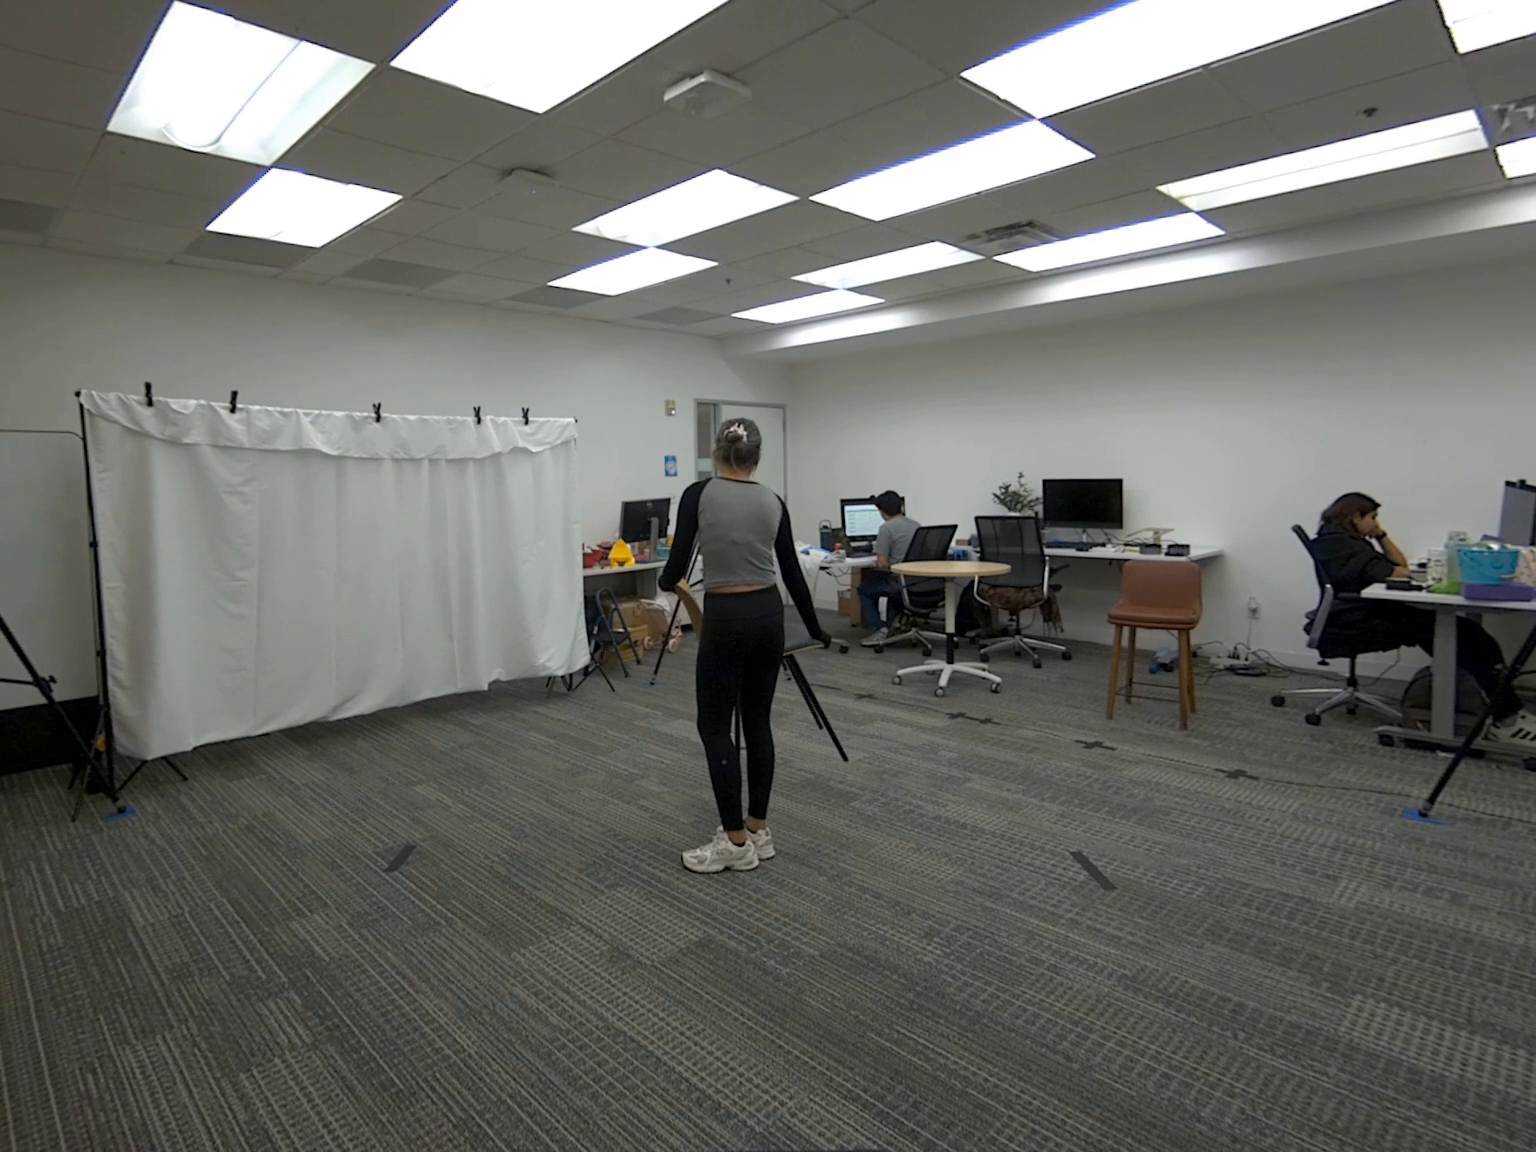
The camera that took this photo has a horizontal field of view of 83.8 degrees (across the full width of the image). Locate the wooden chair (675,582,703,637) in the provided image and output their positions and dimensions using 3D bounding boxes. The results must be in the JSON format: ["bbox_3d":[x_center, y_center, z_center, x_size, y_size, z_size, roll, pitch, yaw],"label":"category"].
[{"bbox_3d":[-0.028,0.343,3.487,0.521,0.872,0.483,-18,6,-6],"label":"wooden chair"}]
